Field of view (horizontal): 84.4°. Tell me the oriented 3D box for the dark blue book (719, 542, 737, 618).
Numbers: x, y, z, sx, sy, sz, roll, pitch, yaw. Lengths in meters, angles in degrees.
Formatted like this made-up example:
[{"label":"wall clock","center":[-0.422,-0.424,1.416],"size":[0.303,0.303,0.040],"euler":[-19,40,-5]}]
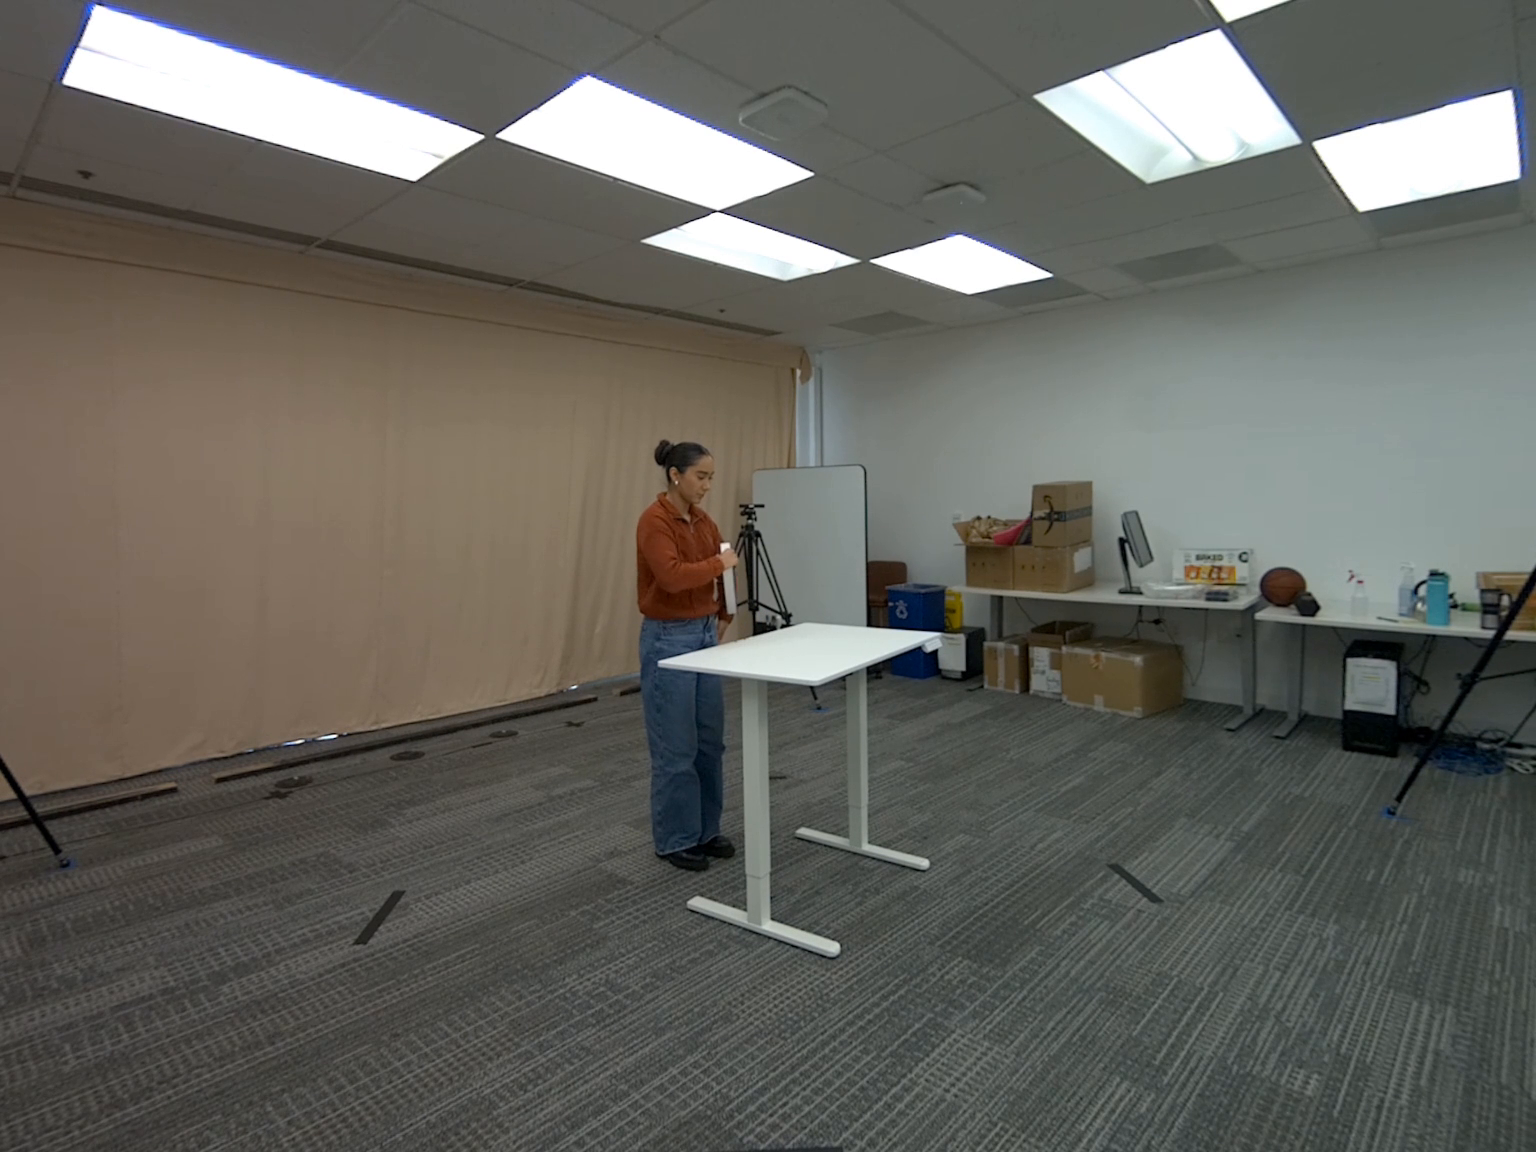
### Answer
[{"label":"dark blue book","center":[-0.158,0.011,3.330],"size":[0.045,0.241,0.165],"euler":[-4,28,3]}]
